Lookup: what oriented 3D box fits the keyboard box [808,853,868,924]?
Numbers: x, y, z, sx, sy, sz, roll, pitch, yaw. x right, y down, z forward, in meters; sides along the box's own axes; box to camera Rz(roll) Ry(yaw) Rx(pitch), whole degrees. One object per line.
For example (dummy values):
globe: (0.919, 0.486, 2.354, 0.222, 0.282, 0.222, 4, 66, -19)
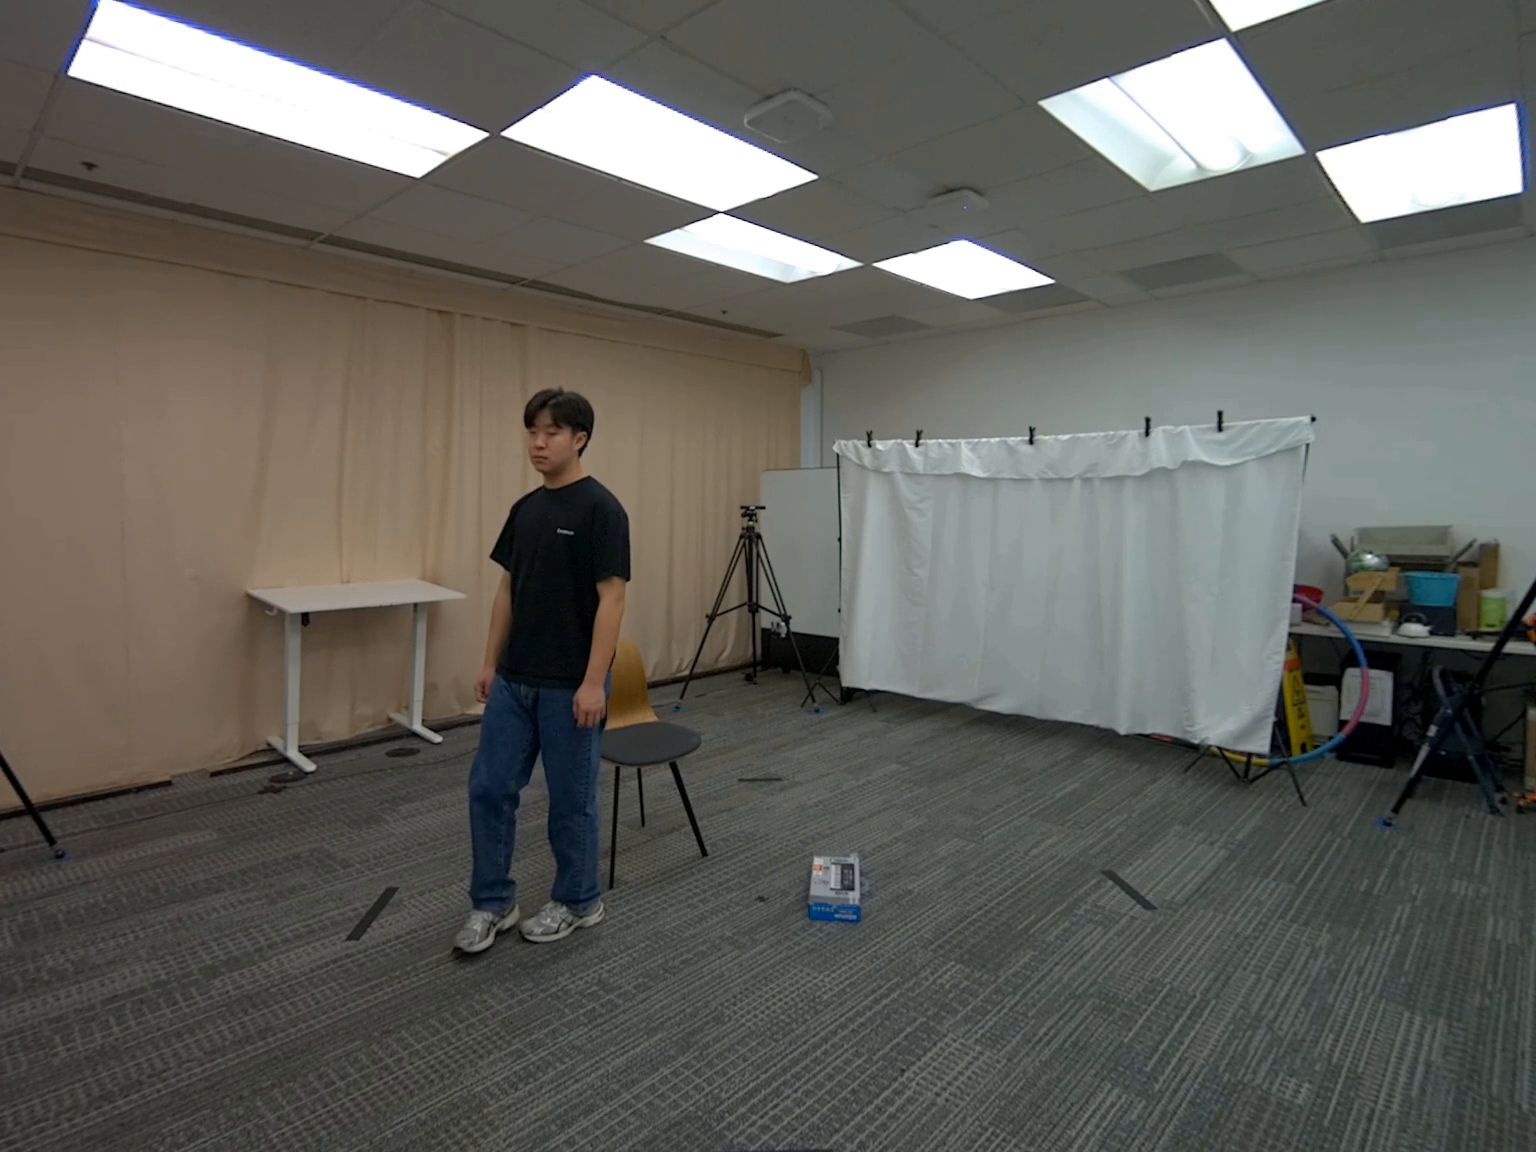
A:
keyboard box: (0.247, 1.111, 3.033, 0.177, 0.059, 0.434, 0, 5, 6)
